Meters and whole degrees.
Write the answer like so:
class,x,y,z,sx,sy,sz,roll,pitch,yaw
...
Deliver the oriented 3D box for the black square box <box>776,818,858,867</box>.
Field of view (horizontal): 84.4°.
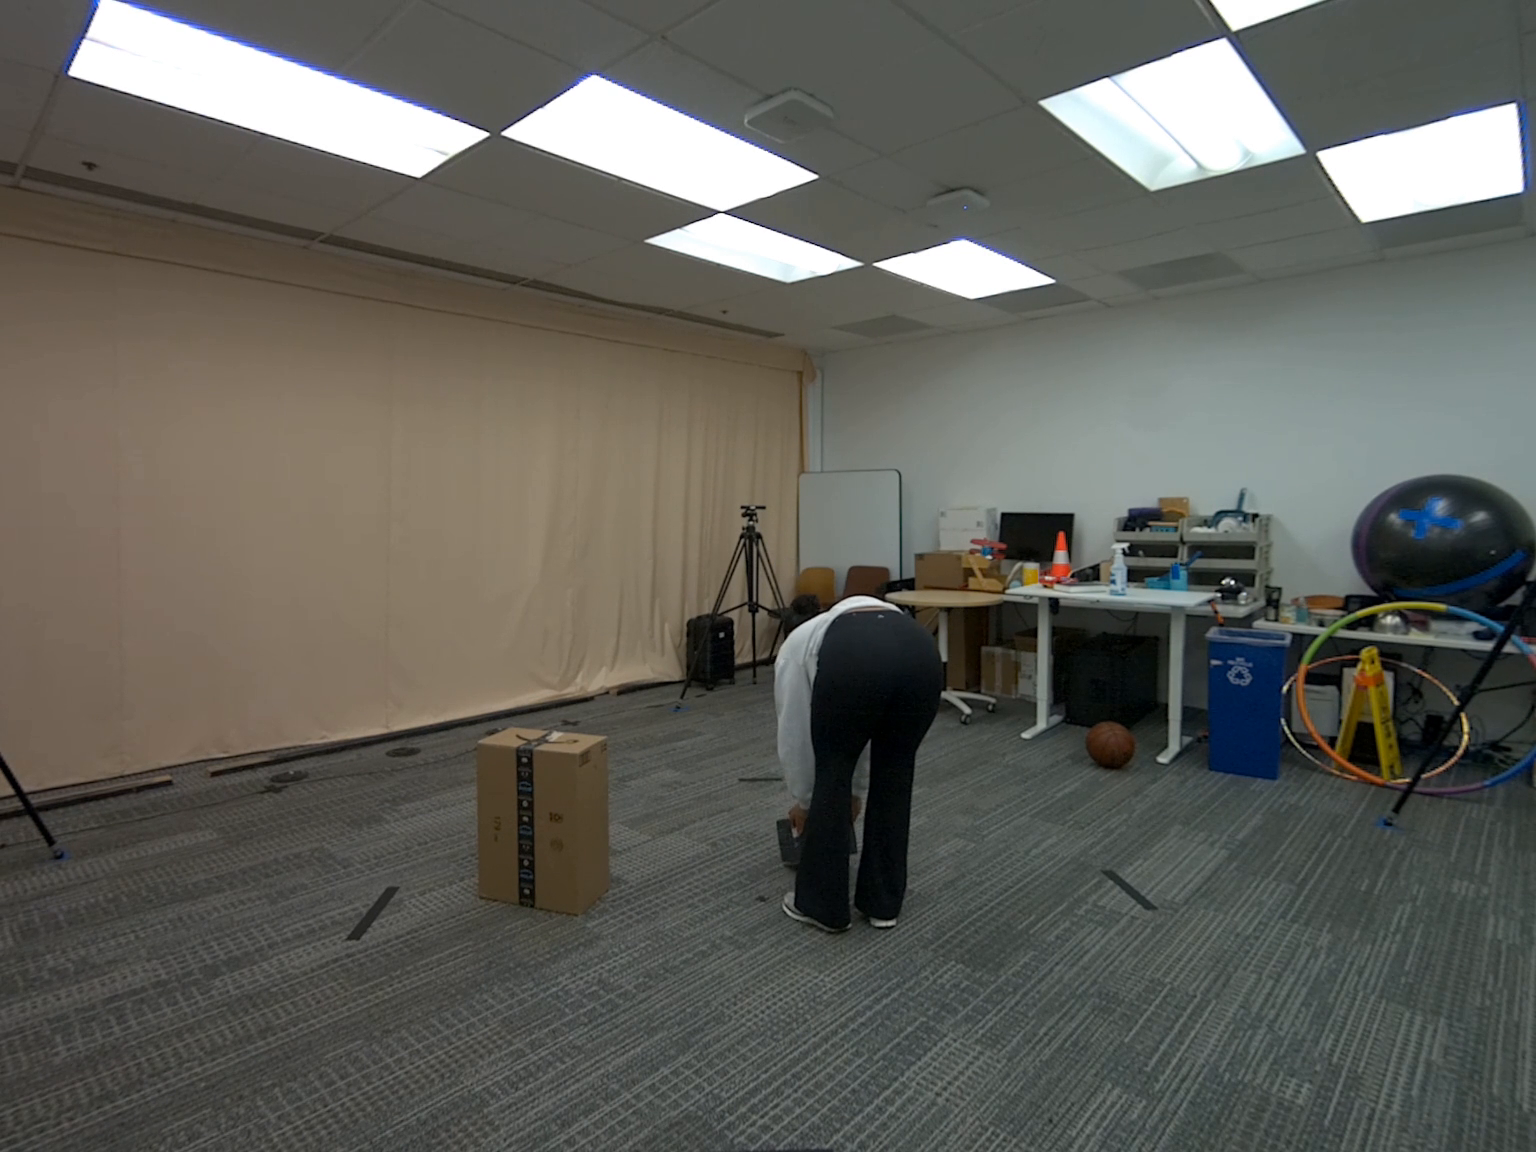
class,x,y,z,sx,sy,sz,roll,pitch,yaw
black square box,0.194,0.995,3.211,0.223,0.158,0.219,-2,-18,-22
